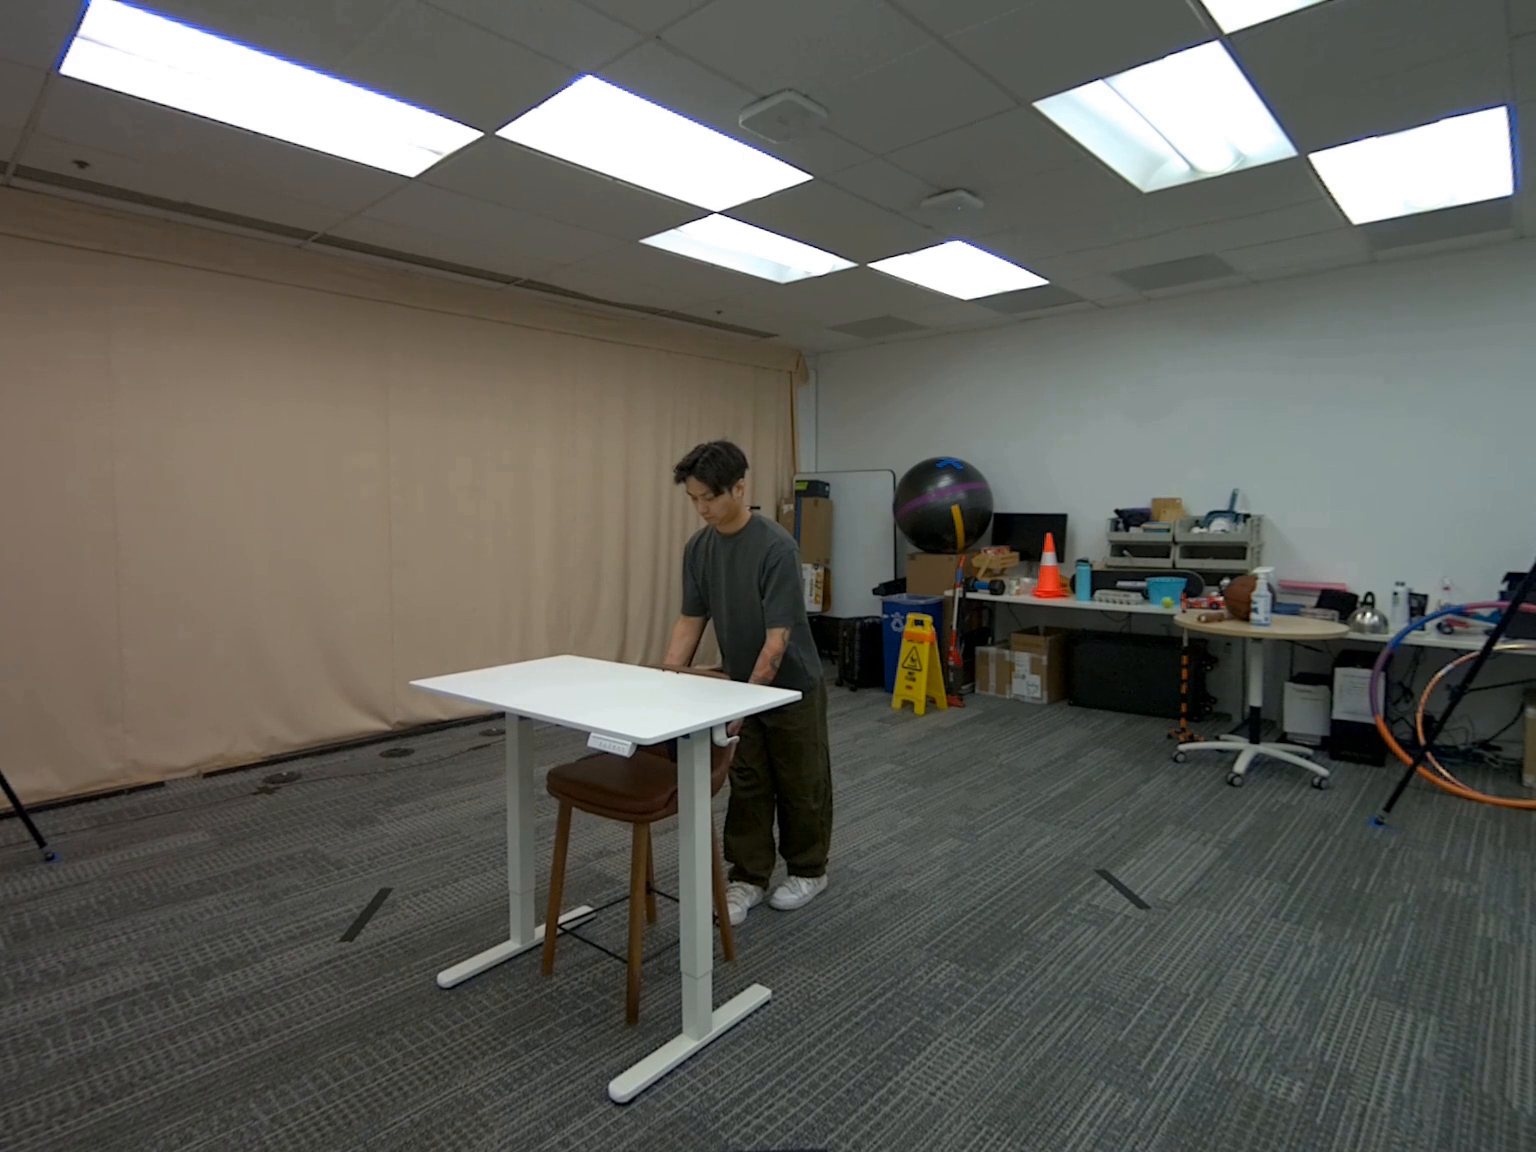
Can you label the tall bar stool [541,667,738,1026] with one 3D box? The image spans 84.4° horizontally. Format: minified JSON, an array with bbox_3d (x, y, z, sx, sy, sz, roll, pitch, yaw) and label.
[{"bbox_3d":[-0.377,0.745,2.529,0.471,0.889,0.453,2,1,40],"label":"tall bar stool"}]
